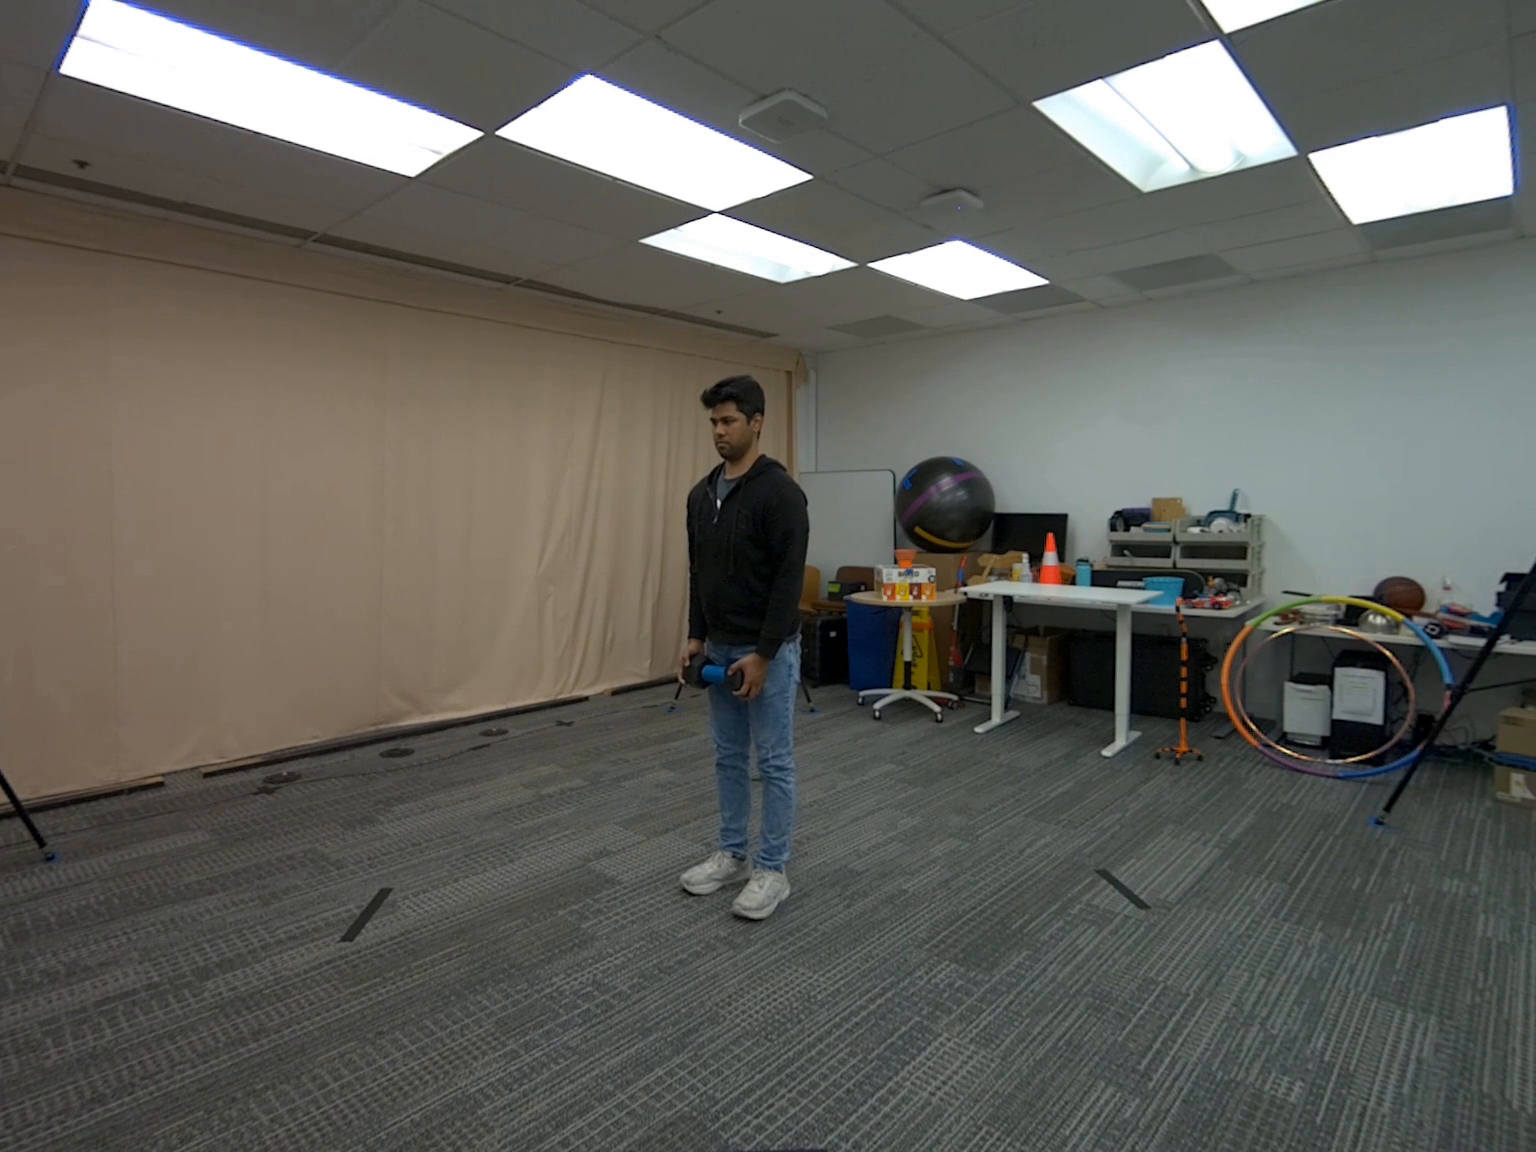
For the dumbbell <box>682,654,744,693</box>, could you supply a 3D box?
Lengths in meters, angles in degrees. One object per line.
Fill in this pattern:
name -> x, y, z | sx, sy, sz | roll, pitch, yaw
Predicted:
dumbbell -> -0.161, 0.348, 2.938 | 0.303, 0.109, 0.119 | 0, -33, 47
